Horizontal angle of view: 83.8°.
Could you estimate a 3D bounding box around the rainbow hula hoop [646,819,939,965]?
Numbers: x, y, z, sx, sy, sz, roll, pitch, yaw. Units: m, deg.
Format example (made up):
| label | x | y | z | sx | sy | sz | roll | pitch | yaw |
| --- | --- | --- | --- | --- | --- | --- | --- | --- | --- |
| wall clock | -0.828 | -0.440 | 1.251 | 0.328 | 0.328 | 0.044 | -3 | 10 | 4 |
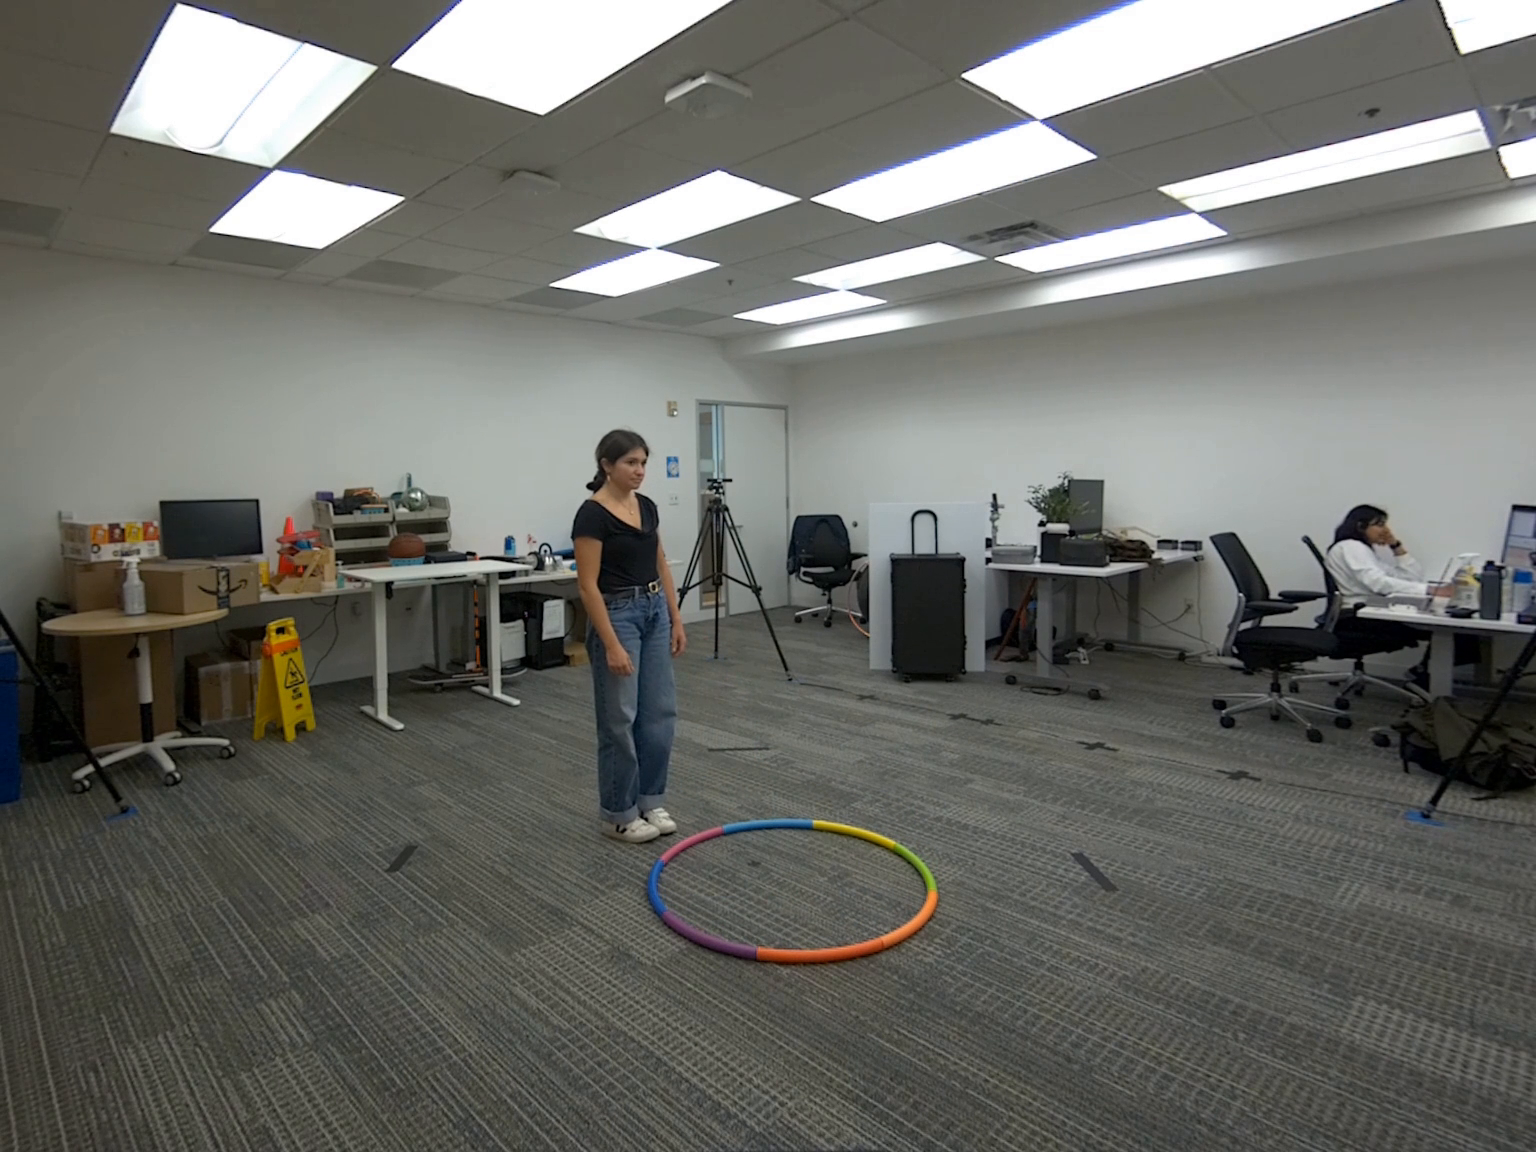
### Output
| label | x | y | z | sx | sy | sz | roll | pitch | yaw |
| --- | --- | --- | --- | --- | --- | --- | --- | --- | --- |
| rainbow hula hoop | 0.074 | 1.033 | 2.948 | 0.978 | 0.035 | 0.984 | -1 | 7 | -2 |
